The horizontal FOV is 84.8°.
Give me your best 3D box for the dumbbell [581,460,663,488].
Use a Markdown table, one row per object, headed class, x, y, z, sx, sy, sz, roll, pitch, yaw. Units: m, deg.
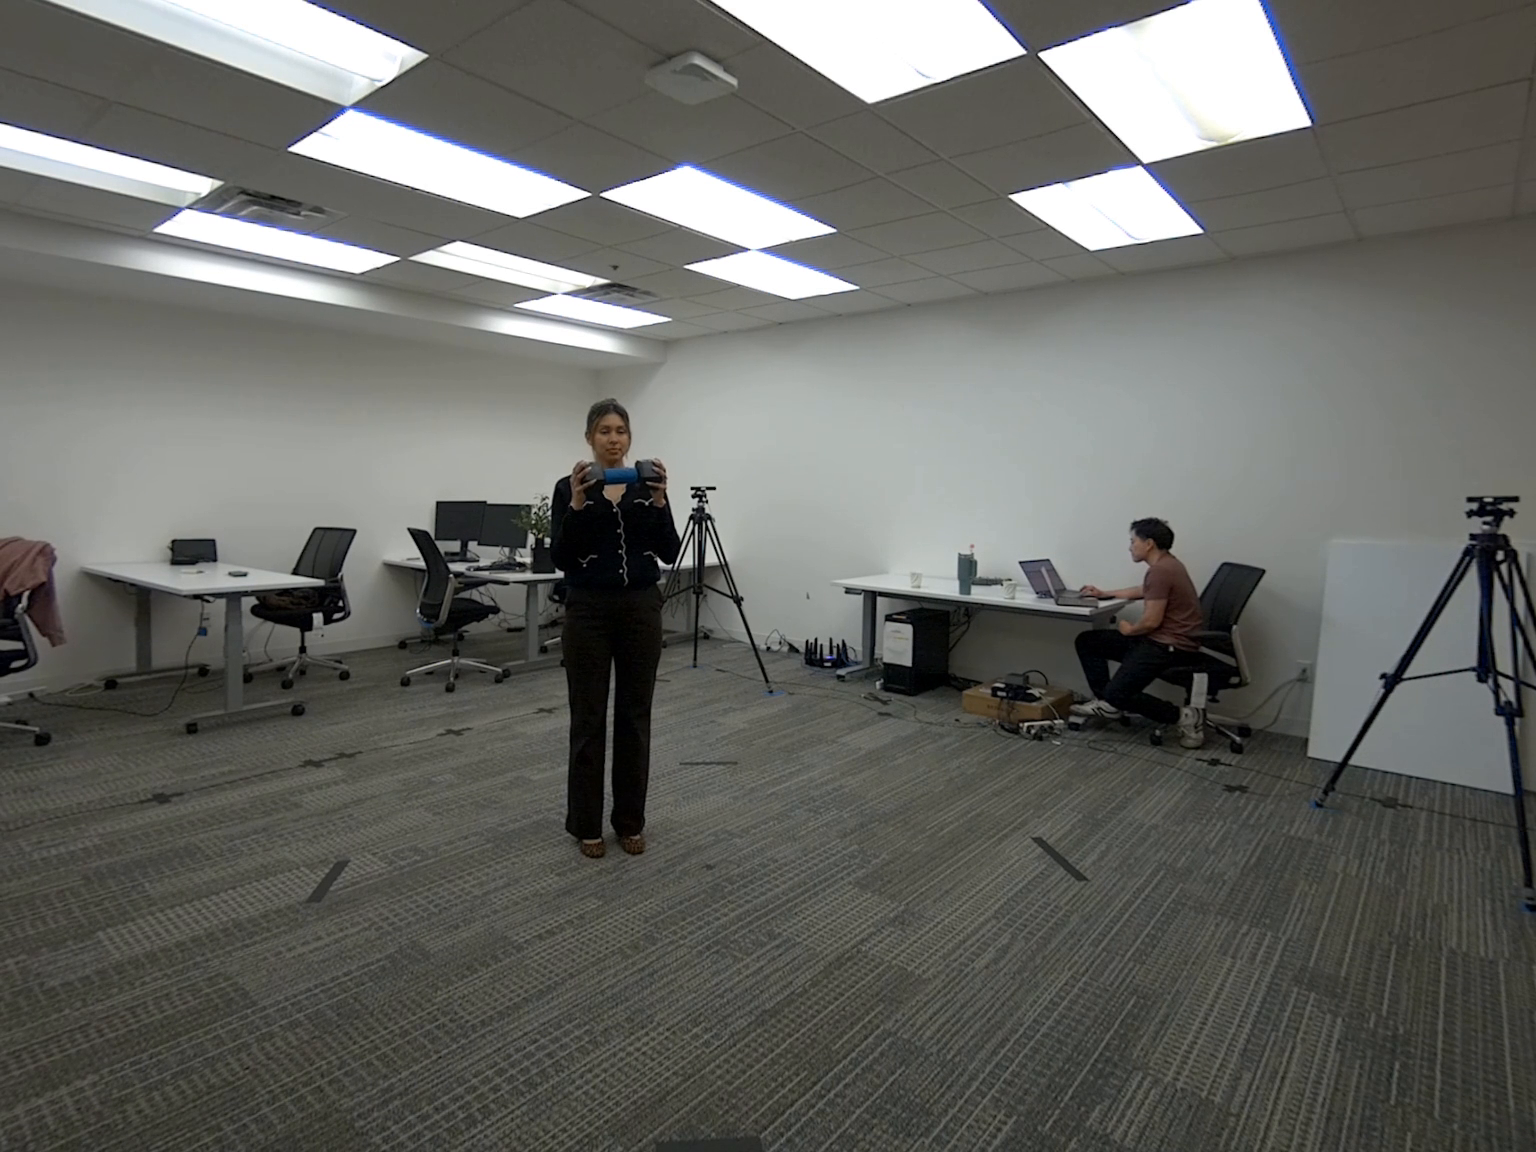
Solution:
| class | x | y | z | sx | sy | sz | roll | pitch | yaw |
| --- | --- | --- | --- | --- | --- | --- | --- | --- | --- |
| dumbbell | -0.548 | -0.362 | 3.092 | 0.287 | 0.112 | 0.121 | -6 | -35 | -23 |
